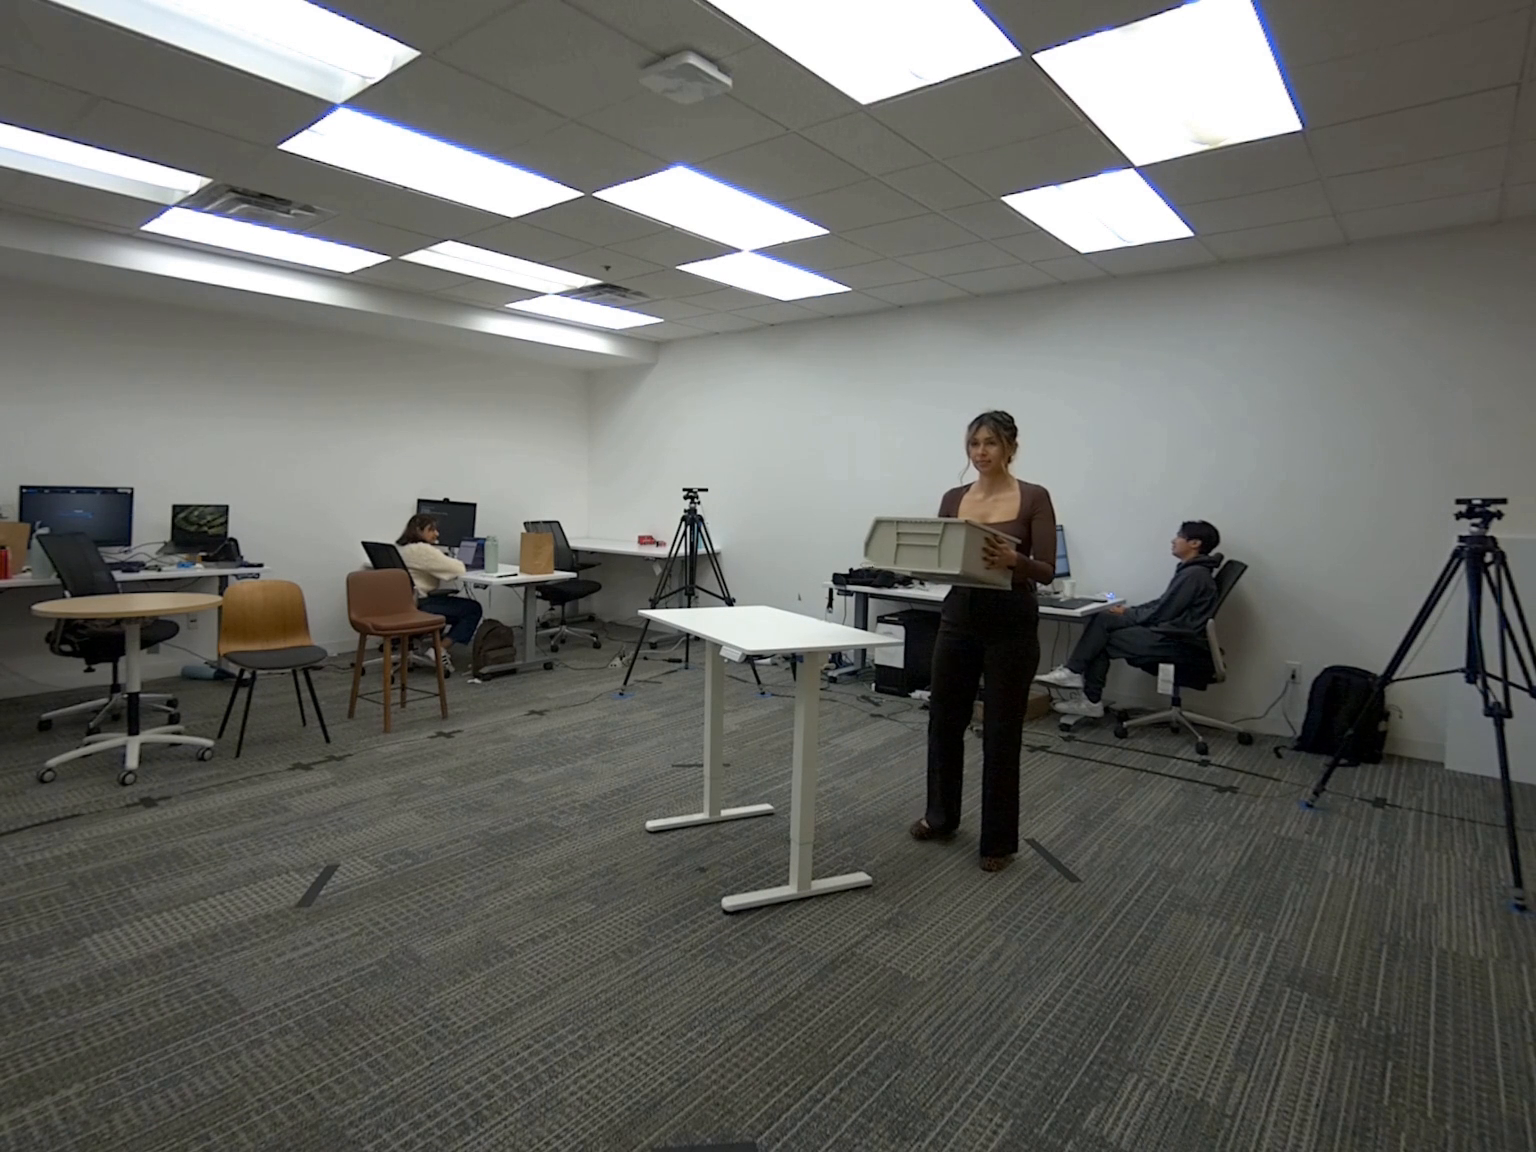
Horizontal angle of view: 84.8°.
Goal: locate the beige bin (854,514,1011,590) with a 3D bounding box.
[{"bbox_3d":[0.592,-0.080,2.975,0.390,0.190,0.407,6,-4,40],"label":"beige bin"}]
